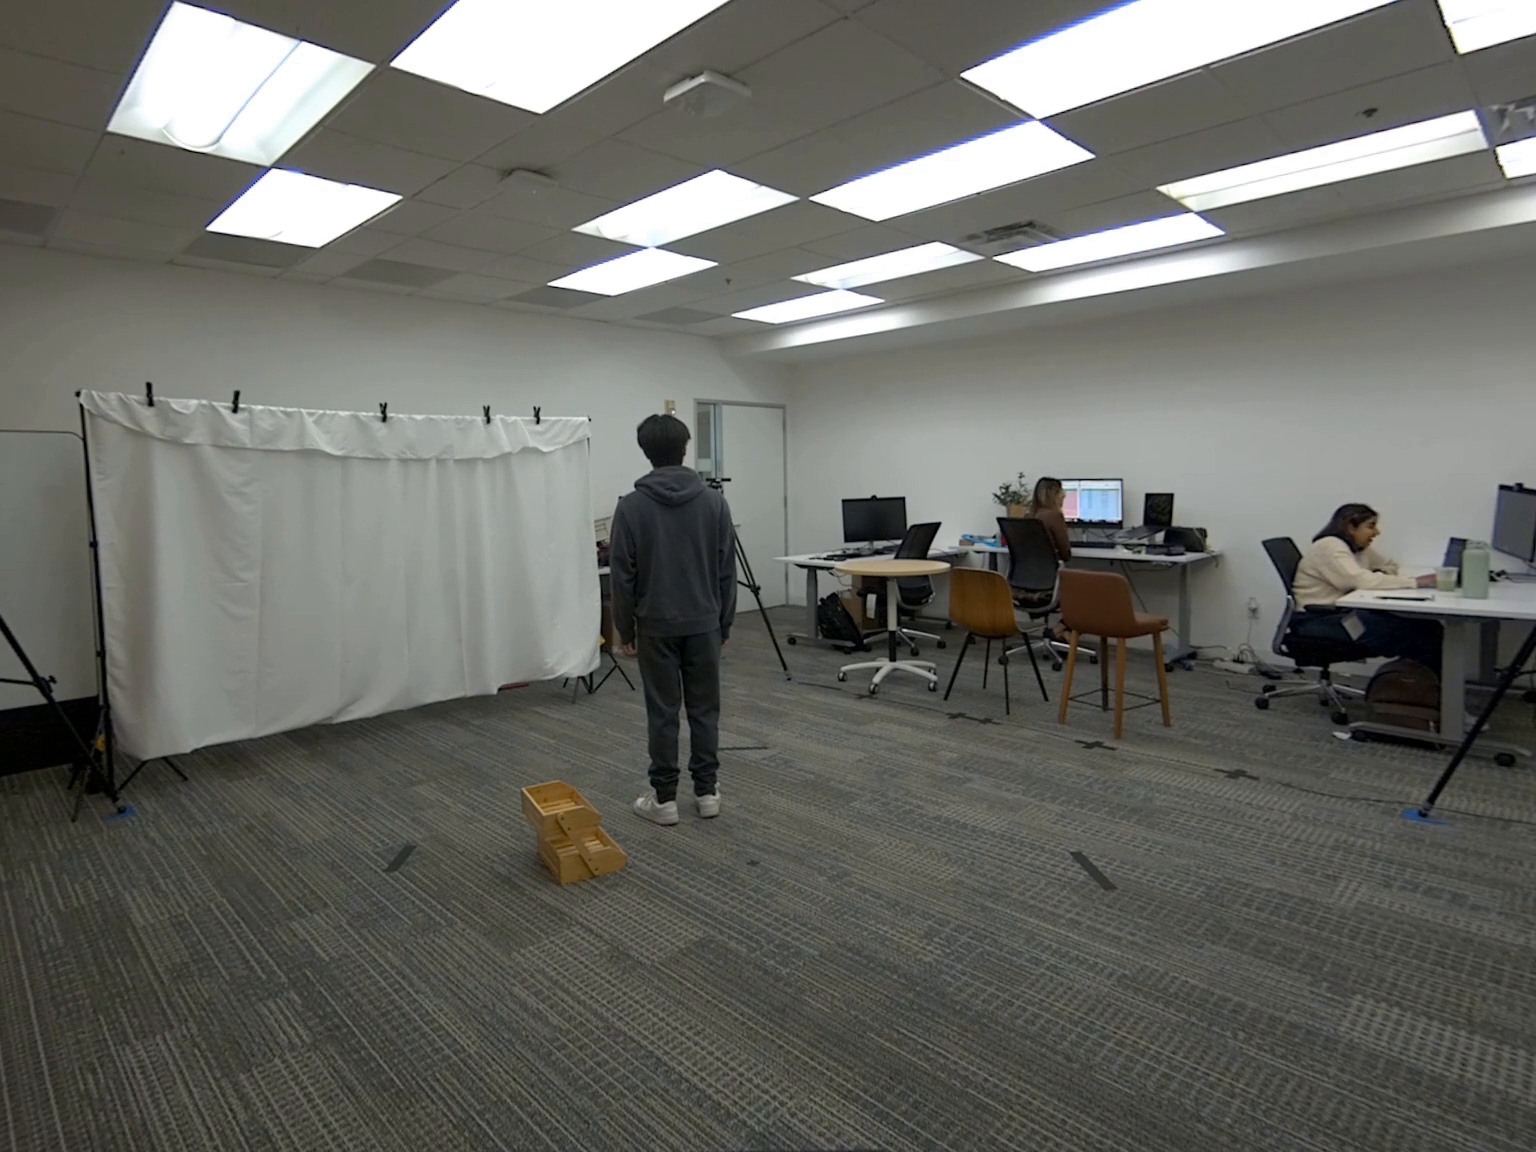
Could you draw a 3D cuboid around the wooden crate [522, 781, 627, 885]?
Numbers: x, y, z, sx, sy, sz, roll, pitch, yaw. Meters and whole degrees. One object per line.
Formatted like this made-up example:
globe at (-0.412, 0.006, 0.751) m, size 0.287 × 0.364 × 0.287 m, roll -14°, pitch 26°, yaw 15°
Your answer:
wooden crate at (-0.712, 0.917, 3.134) m, size 0.295 × 0.272 × 0.333 m, roll -5°, pitch 7°, yaw -29°
